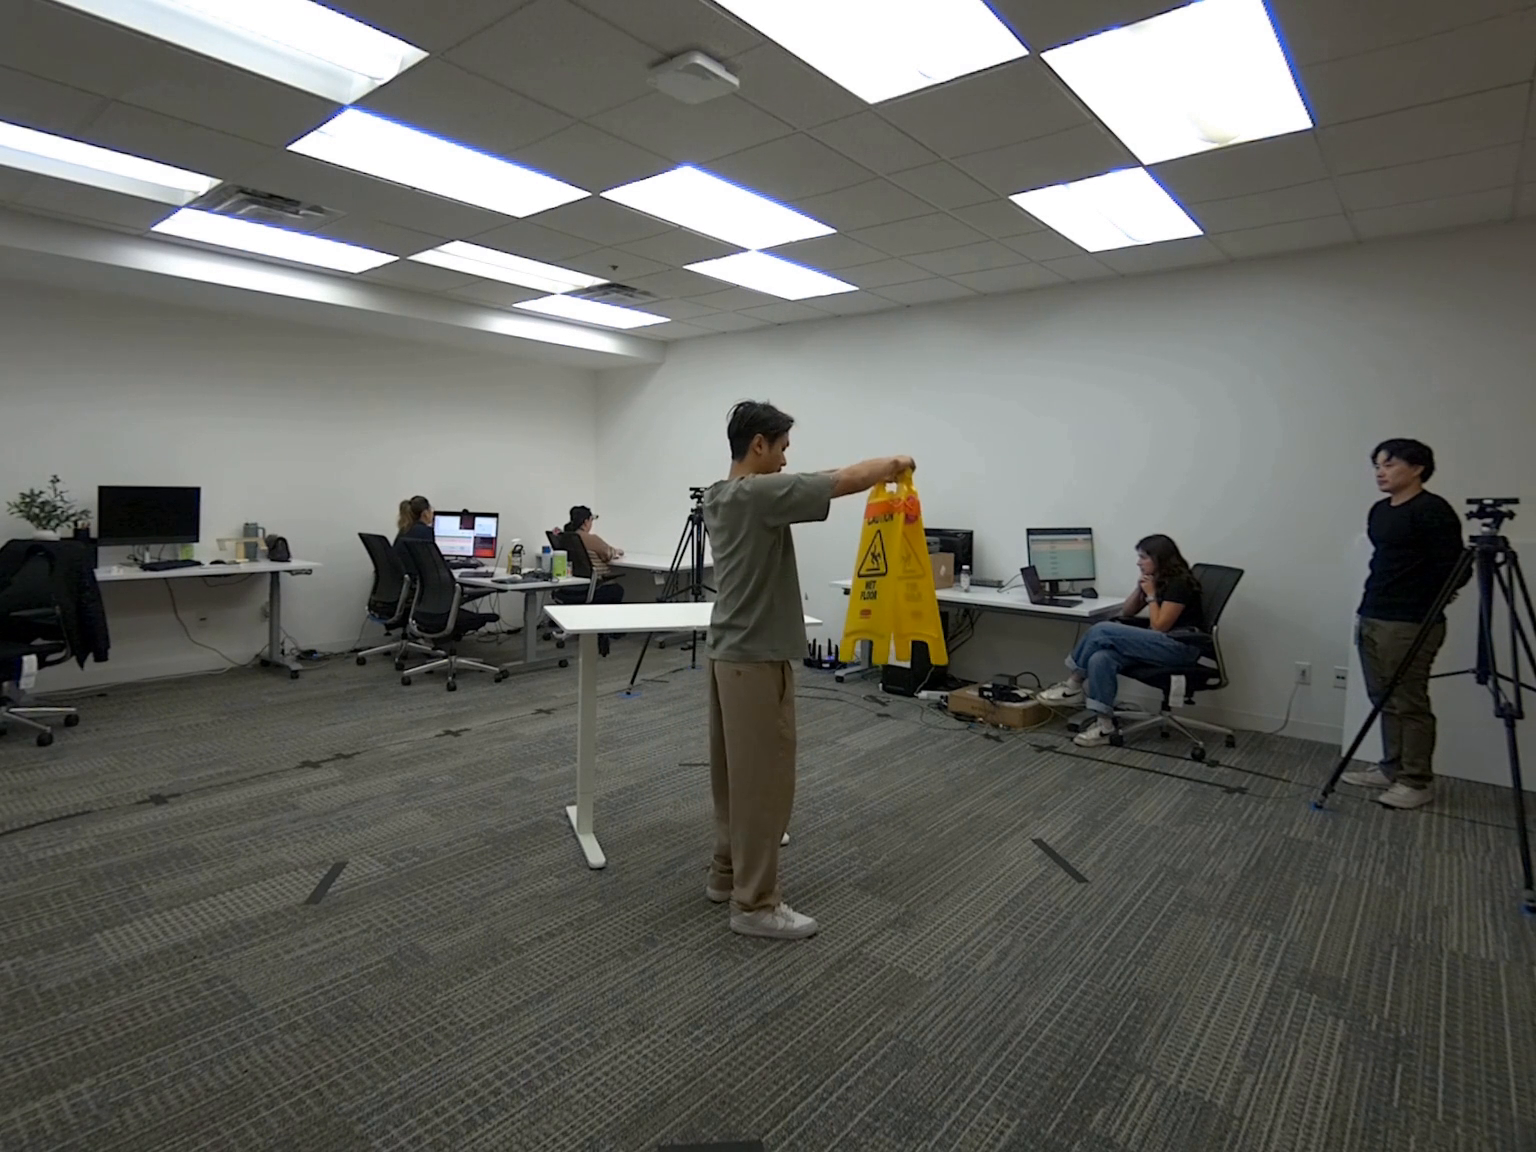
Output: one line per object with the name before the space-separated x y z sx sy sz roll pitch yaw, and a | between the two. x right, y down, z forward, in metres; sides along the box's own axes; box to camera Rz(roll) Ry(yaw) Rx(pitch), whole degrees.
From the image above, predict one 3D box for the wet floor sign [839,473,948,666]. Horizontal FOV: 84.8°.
wet floor sign | 0.404 -0.033 2.833 0.283 0.649 0.288 4 -5 -24
